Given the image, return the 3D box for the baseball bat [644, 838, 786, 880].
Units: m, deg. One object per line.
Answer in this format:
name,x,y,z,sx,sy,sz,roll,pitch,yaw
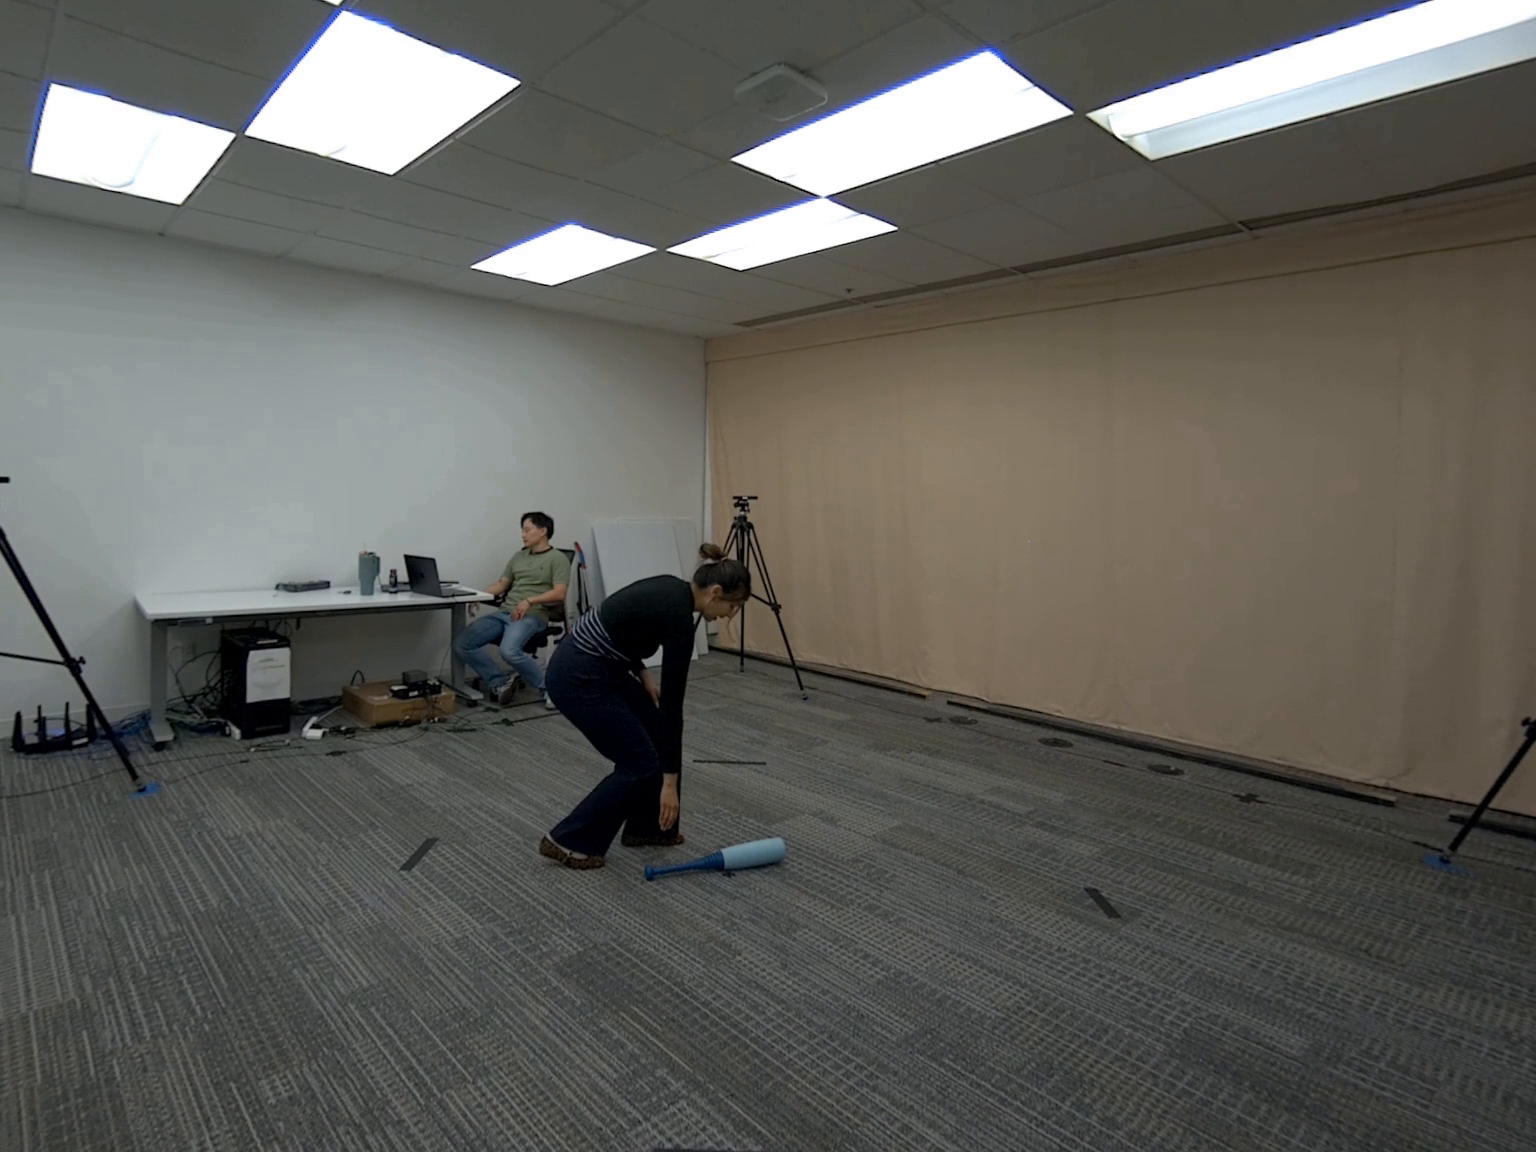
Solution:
baseball bat,-0.197,1.066,3.131,0.536,0.089,0.090,-5,6,-19
